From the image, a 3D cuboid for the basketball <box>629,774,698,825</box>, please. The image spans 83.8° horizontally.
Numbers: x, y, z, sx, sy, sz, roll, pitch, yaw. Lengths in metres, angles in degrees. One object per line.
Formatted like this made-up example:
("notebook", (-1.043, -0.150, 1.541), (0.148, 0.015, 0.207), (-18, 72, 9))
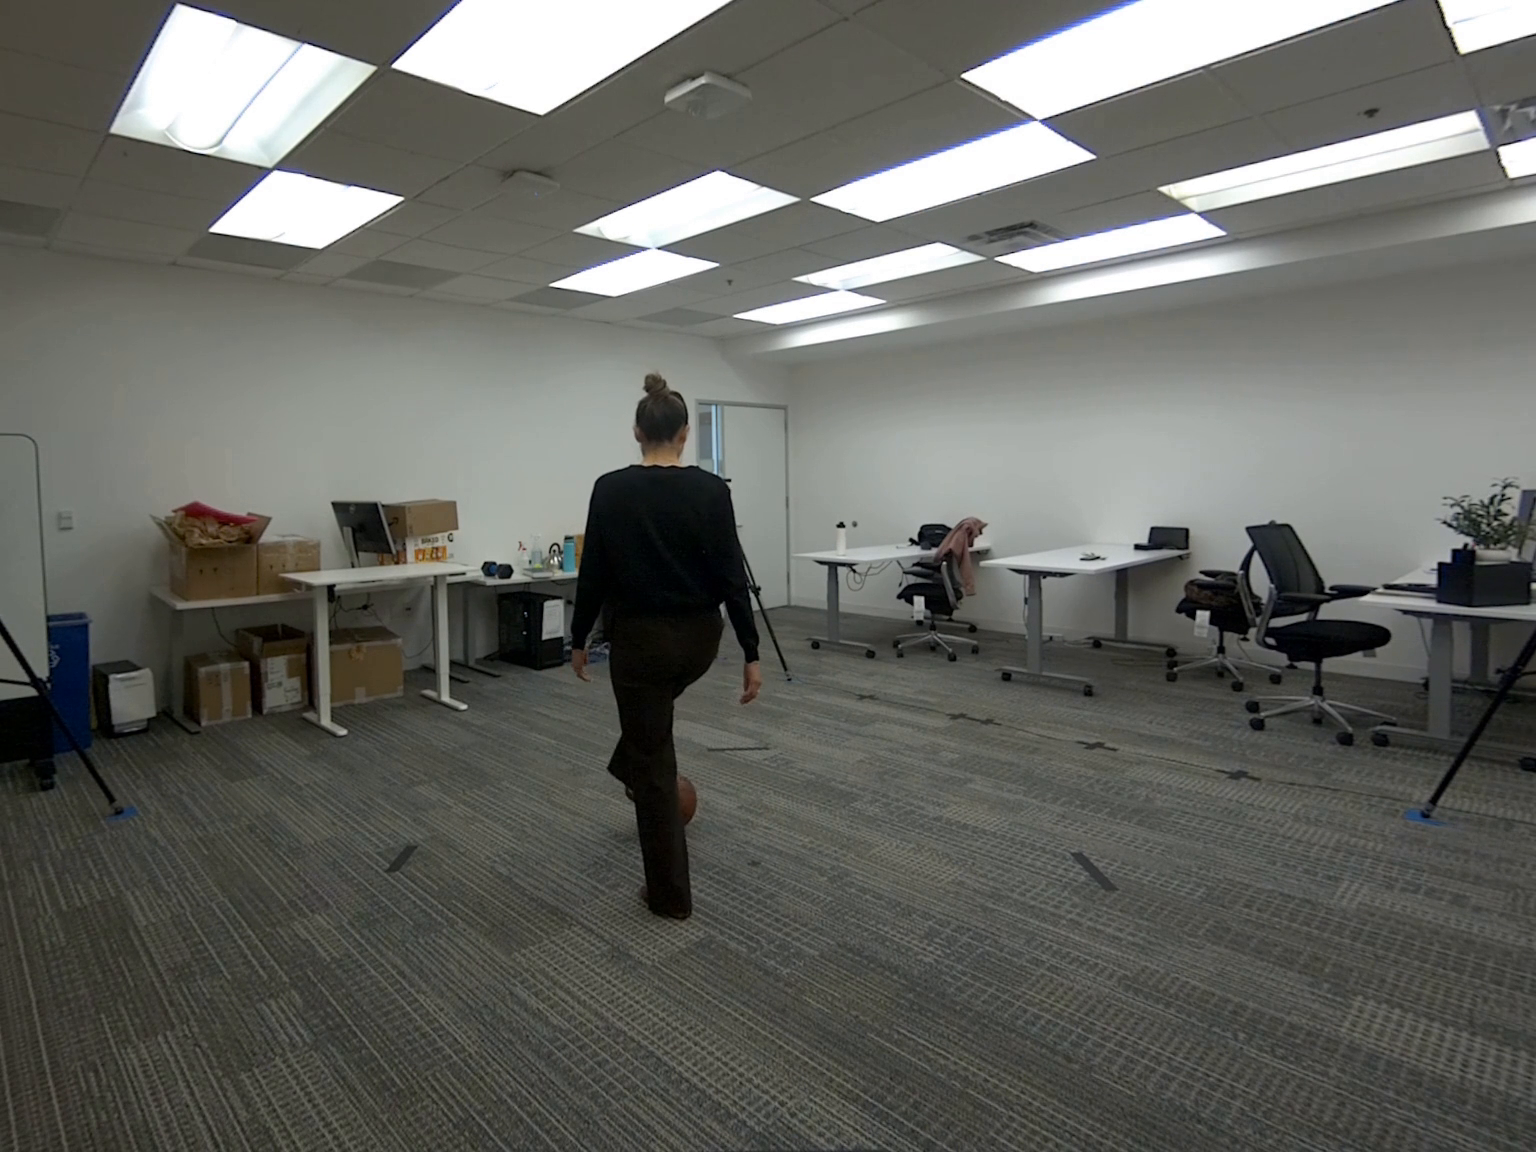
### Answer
("basketball", (-0.387, 0.896, 3.408), (0.236, 0.235, 0.237), (-1, 5, -2))
